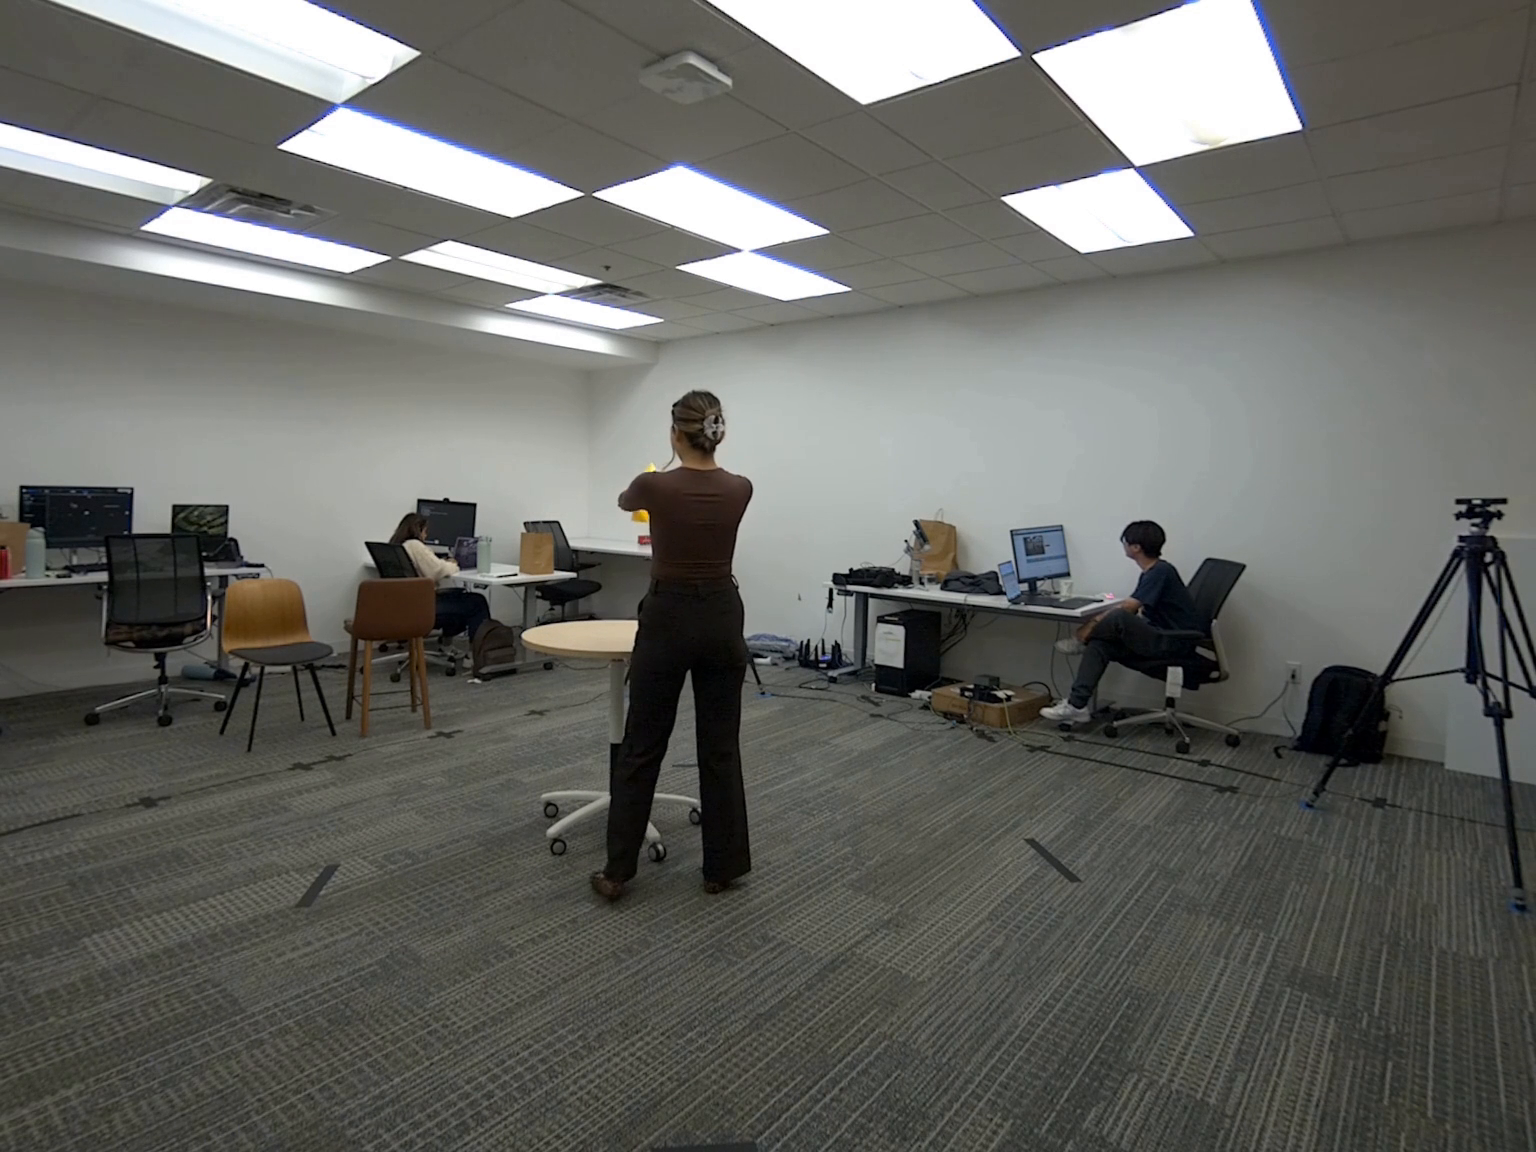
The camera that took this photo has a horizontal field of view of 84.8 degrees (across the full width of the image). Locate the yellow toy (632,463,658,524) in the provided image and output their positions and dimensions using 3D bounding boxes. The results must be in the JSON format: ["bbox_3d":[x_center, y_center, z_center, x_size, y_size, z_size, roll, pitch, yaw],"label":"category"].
[{"bbox_3d":[-0.462,-0.343,3.437,0.200,0.229,0.198,-2,6,-22],"label":"yellow toy"}]
